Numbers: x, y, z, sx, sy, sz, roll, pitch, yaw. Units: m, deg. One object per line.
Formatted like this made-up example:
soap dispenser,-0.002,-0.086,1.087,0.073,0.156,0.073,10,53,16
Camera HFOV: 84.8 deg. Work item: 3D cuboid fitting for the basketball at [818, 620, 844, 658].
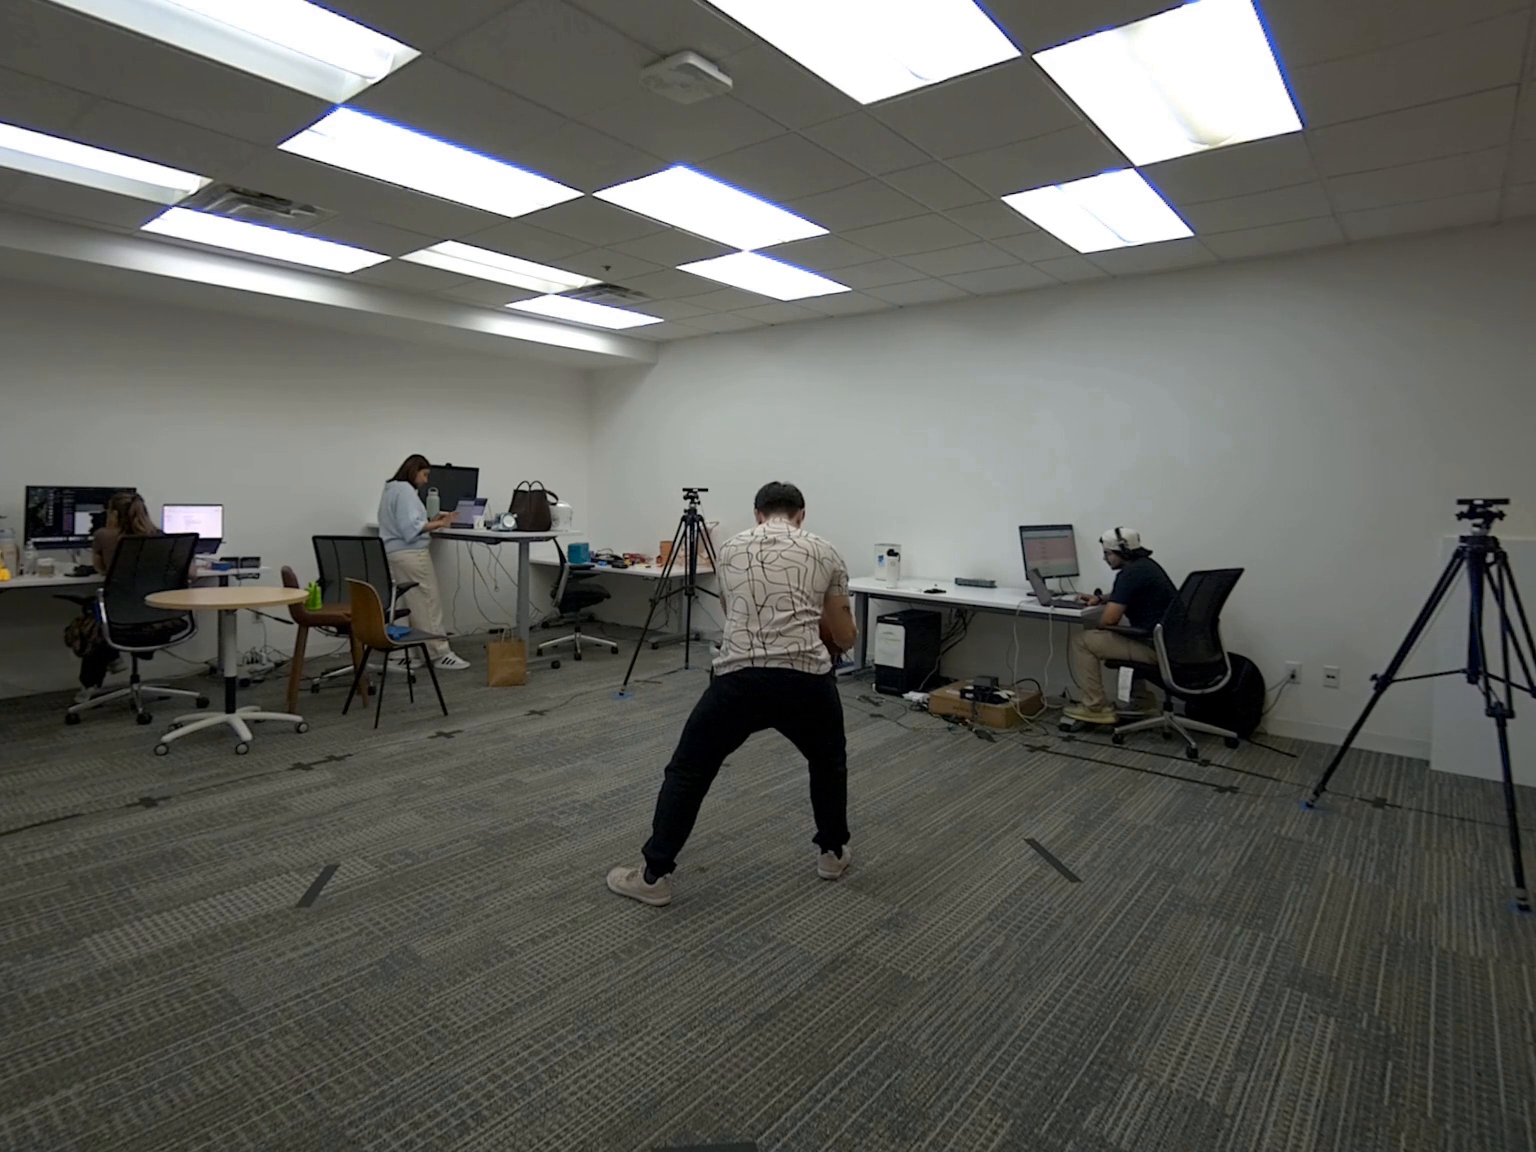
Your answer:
basketball,0.221,0.193,3.432,0.235,0.235,0.237,1,4,-2
